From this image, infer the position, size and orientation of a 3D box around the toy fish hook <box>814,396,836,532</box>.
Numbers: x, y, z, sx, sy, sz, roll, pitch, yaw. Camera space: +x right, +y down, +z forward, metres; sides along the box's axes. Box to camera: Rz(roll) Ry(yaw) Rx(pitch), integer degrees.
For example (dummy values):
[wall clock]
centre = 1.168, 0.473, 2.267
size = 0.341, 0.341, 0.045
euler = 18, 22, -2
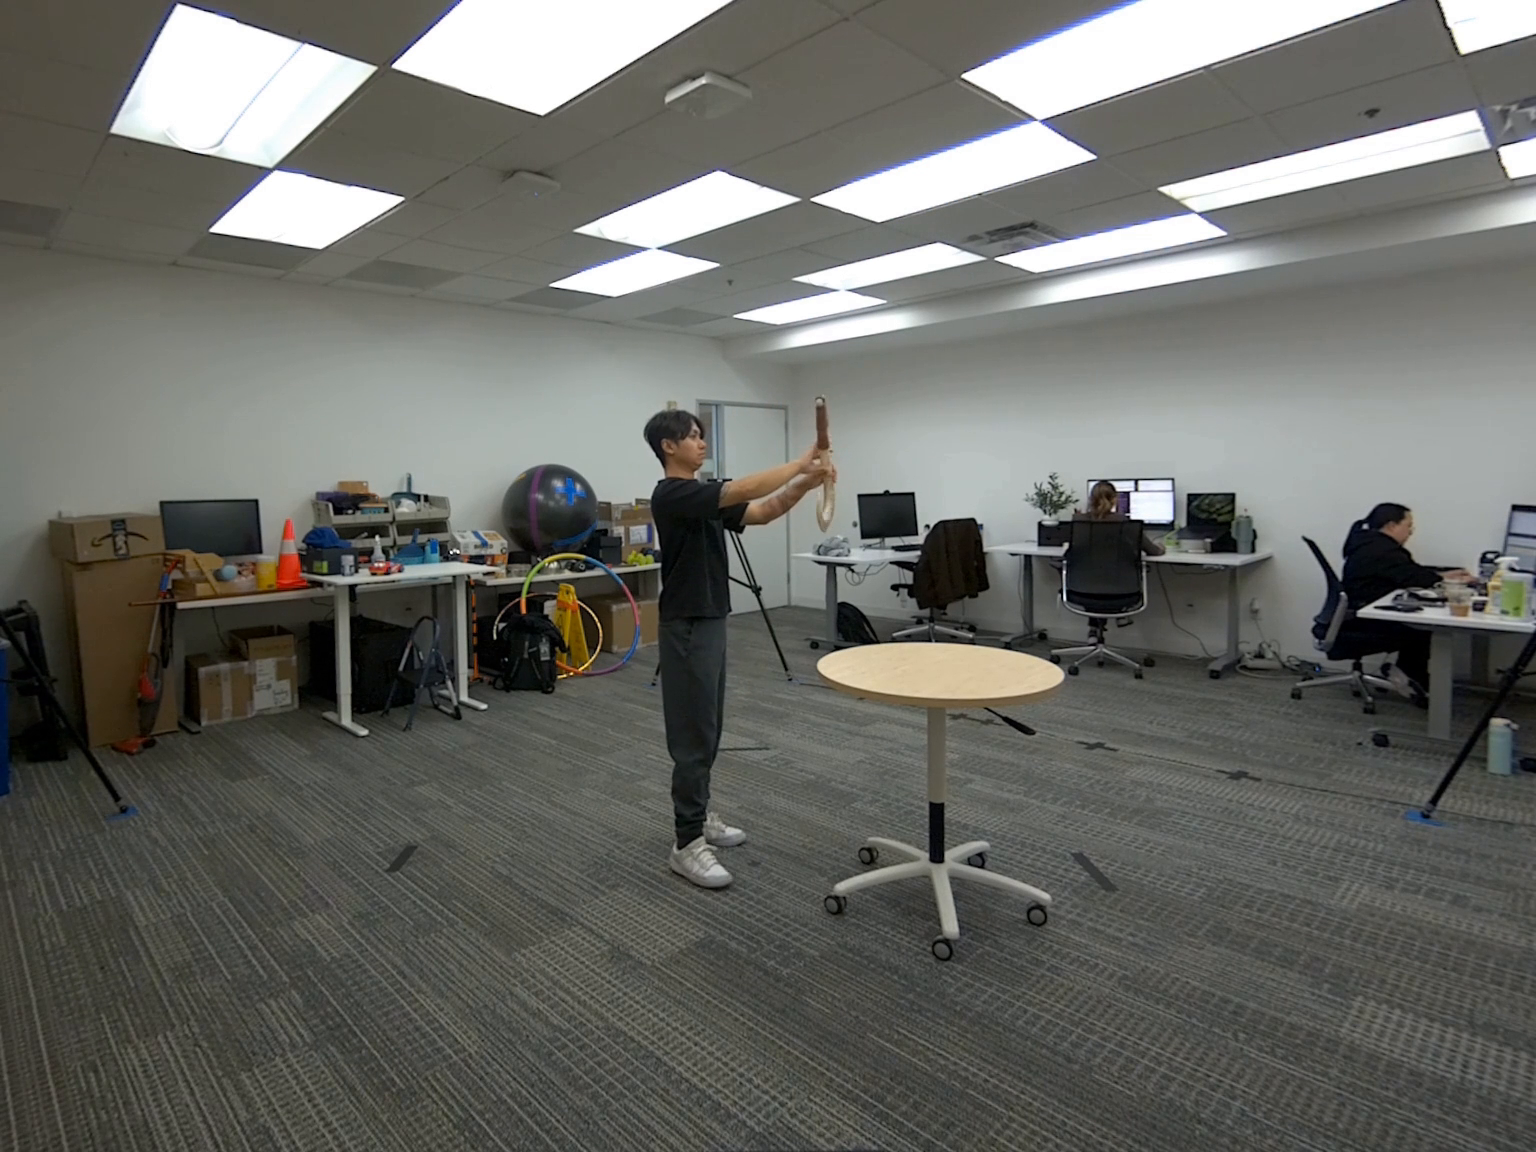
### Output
[toy fish hook]
centre = 0.197, -0.389, 3.055
size = 0.049, 0.492, 0.228
euler = 0, 33, 13
